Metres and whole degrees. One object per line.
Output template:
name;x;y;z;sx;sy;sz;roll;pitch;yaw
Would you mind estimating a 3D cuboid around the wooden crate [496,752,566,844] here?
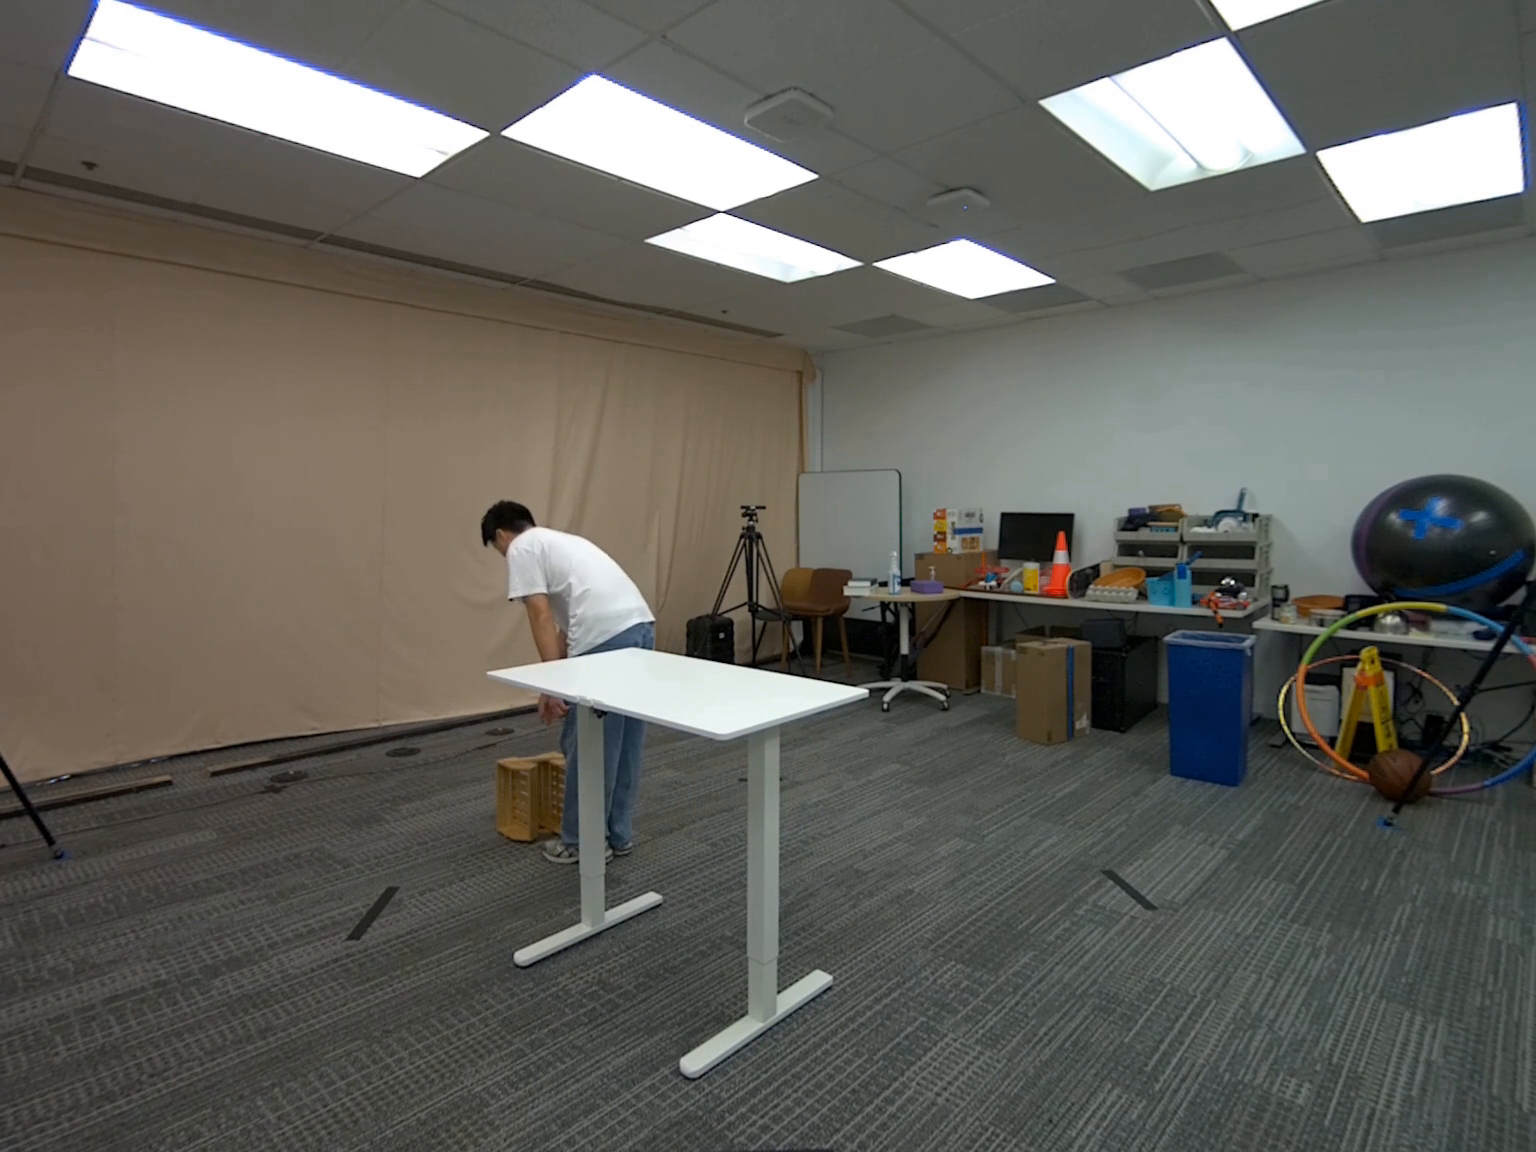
wooden crate;-0.978;0.941;3.577;0.265;0.324;0.312;-3;3;-44
